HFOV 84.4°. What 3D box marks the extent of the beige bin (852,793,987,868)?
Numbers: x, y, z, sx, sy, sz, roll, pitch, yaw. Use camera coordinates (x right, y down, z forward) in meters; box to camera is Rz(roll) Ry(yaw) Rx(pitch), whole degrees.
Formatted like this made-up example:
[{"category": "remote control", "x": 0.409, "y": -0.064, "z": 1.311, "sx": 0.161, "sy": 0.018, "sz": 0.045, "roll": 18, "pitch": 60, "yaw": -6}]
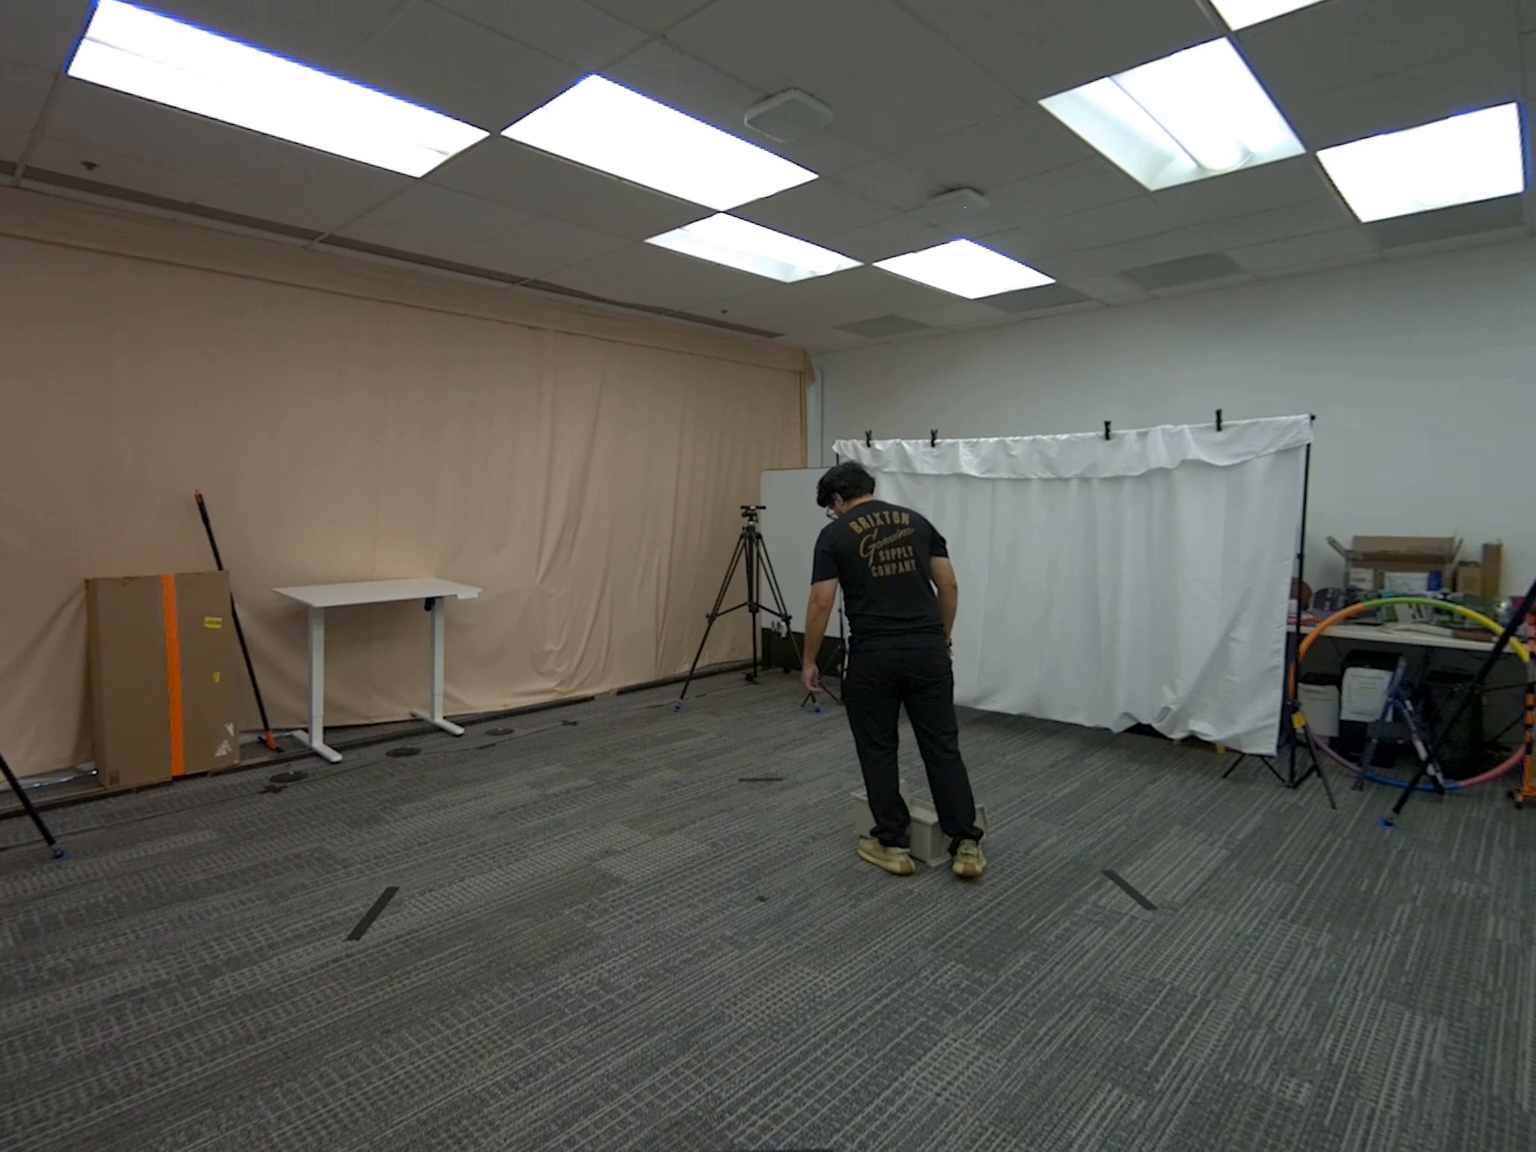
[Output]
[{"category": "beige bin", "x": 0.636, "y": 1.010, "z": 3.508, "sx": 0.366, "sy": 0.188, "sz": 0.436, "roll": -5, "pitch": 7, "yaw": -40}]
